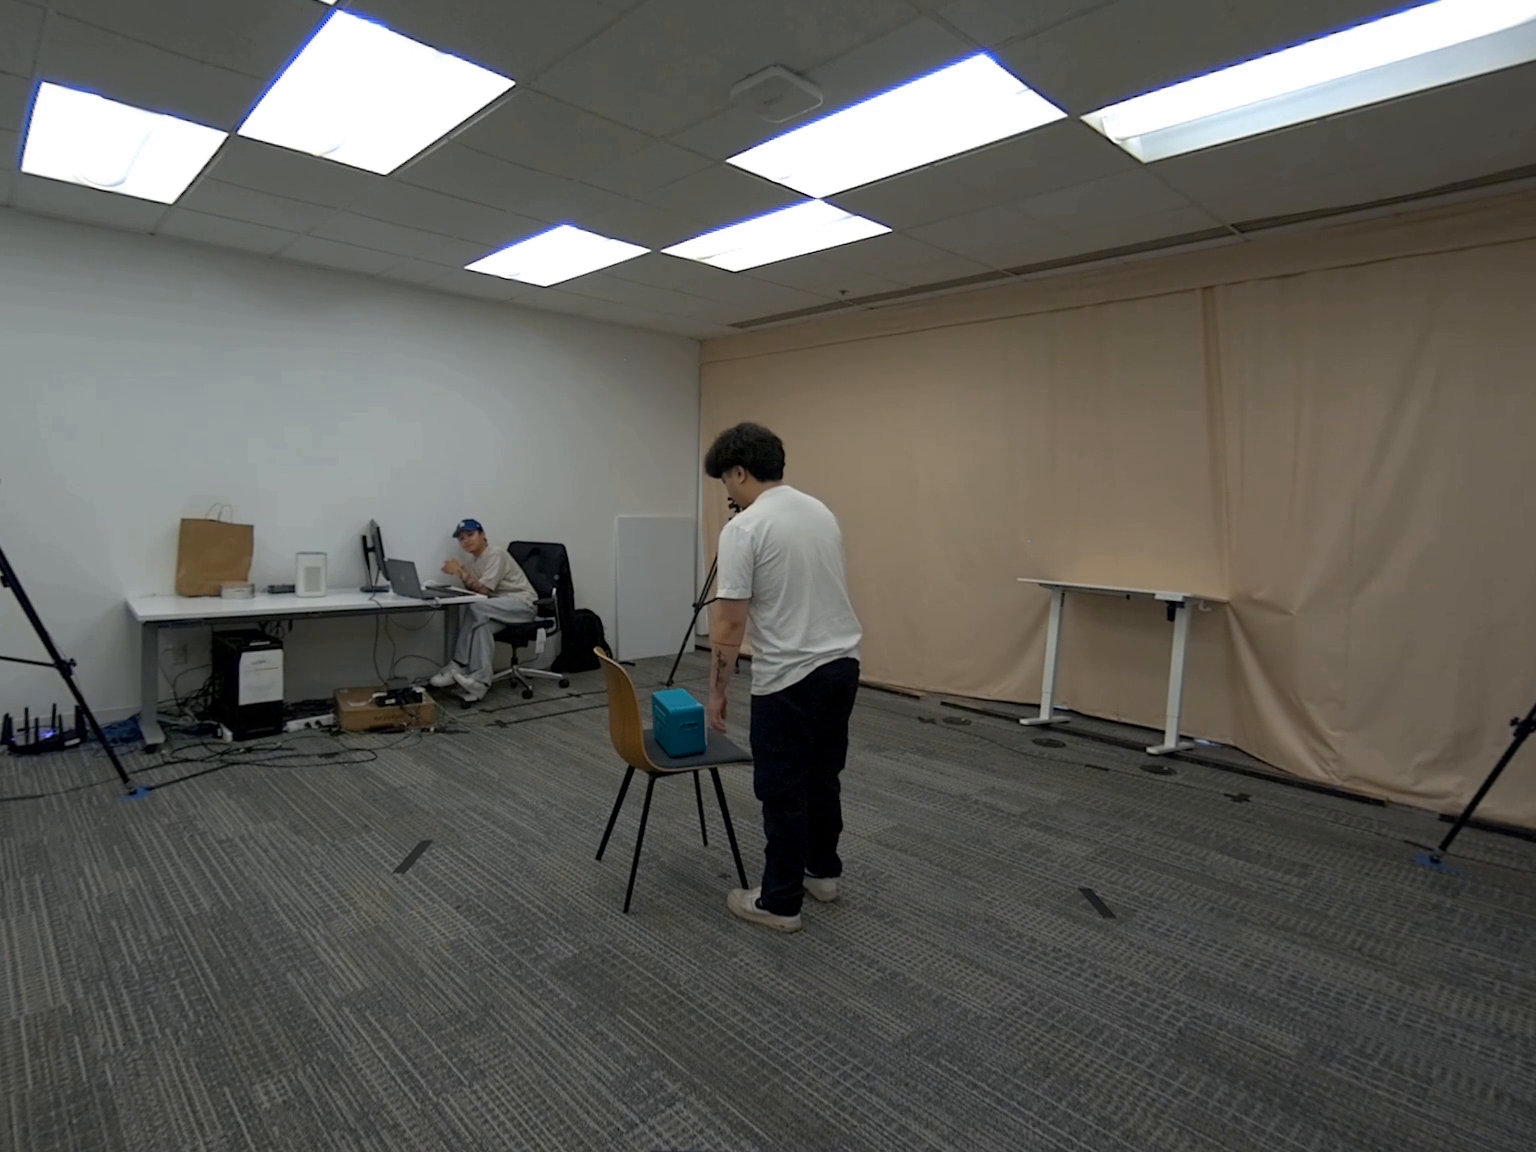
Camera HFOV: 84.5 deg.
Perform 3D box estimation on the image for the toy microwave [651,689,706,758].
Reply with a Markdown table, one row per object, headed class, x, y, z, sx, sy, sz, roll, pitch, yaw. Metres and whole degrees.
| class | x | y | z | sx | sy | sz | roll | pitch | yaw |
| --- | --- | --- | --- | --- | --- | --- | --- | --- | --- |
| toy microwave | -0.329 | 0.534 | 3.069 | 0.150 | 0.183 | 0.291 | -4 | 7 | -18 |
